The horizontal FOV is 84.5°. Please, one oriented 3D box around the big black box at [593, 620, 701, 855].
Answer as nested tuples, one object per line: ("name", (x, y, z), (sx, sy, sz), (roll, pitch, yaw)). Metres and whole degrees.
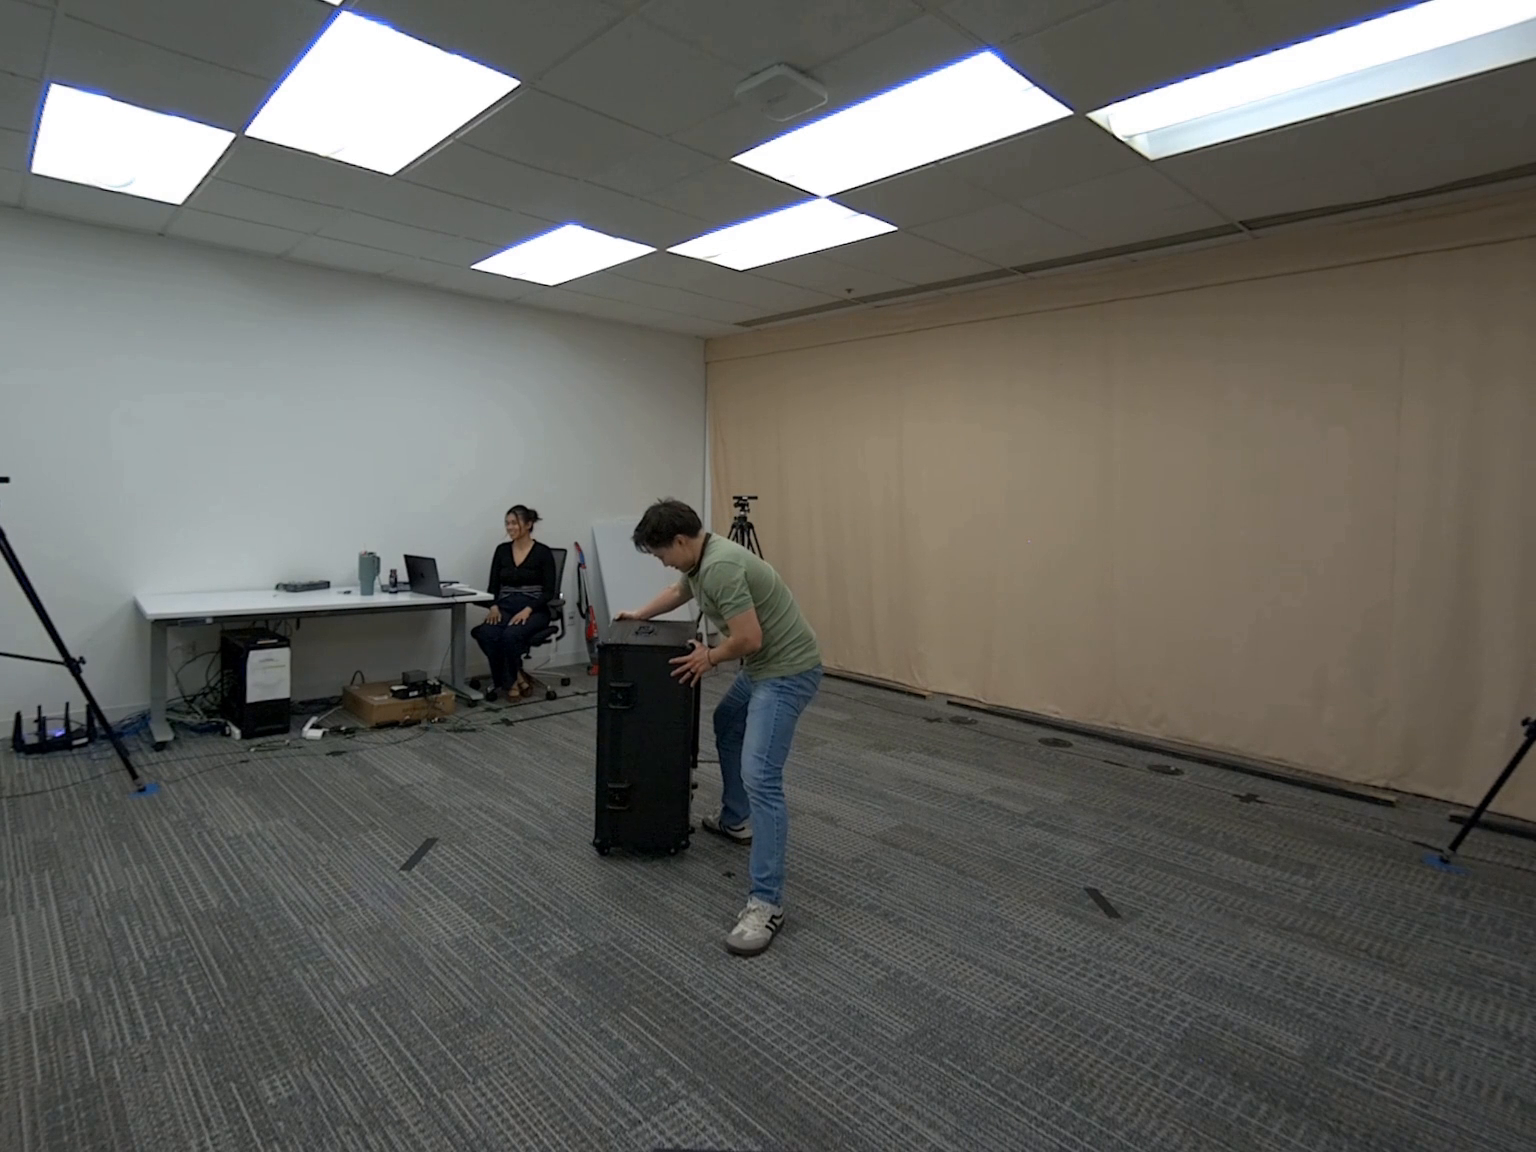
("big black box", (-0.473, 0.639, 3.367), (0.396, 0.858, 0.524), (3, 6, -2))
